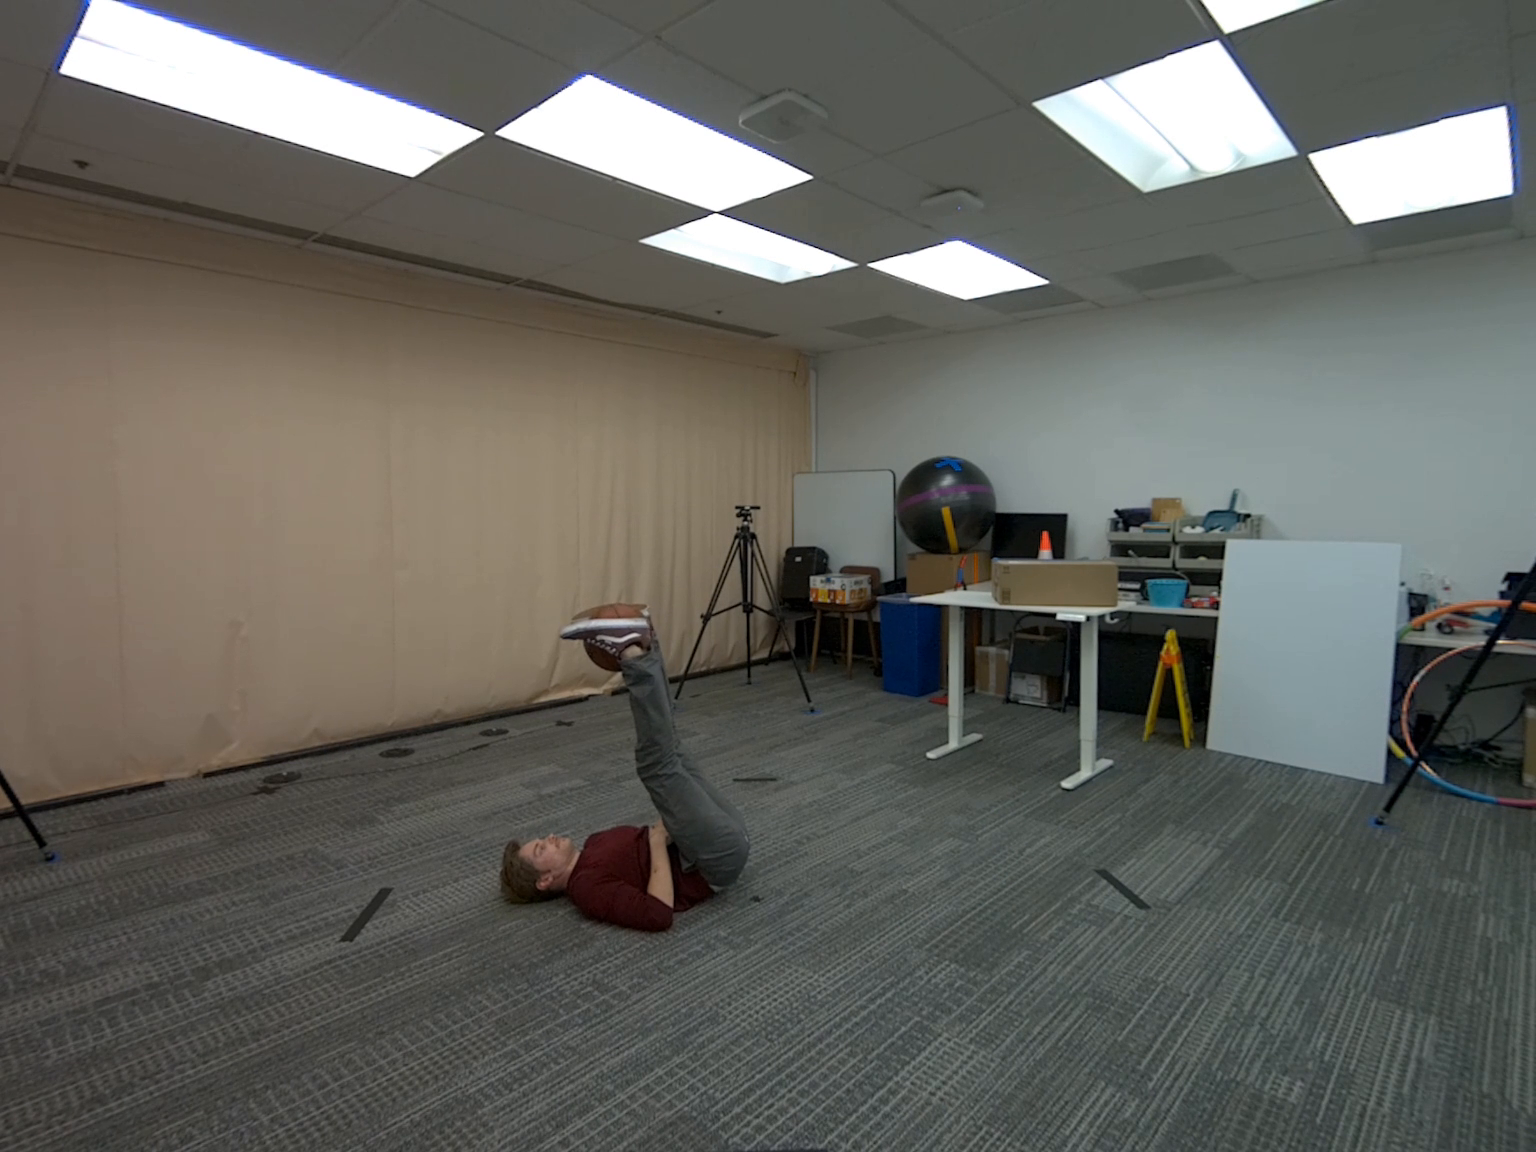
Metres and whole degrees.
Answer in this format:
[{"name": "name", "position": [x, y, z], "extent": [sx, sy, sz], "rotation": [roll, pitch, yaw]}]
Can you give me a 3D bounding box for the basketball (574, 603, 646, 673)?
[{"name": "basketball", "position": [-0.512, 0.209, 2.943], "extent": [0.235, 0.235, 0.237], "rotation": [3, 5, -2]}]
